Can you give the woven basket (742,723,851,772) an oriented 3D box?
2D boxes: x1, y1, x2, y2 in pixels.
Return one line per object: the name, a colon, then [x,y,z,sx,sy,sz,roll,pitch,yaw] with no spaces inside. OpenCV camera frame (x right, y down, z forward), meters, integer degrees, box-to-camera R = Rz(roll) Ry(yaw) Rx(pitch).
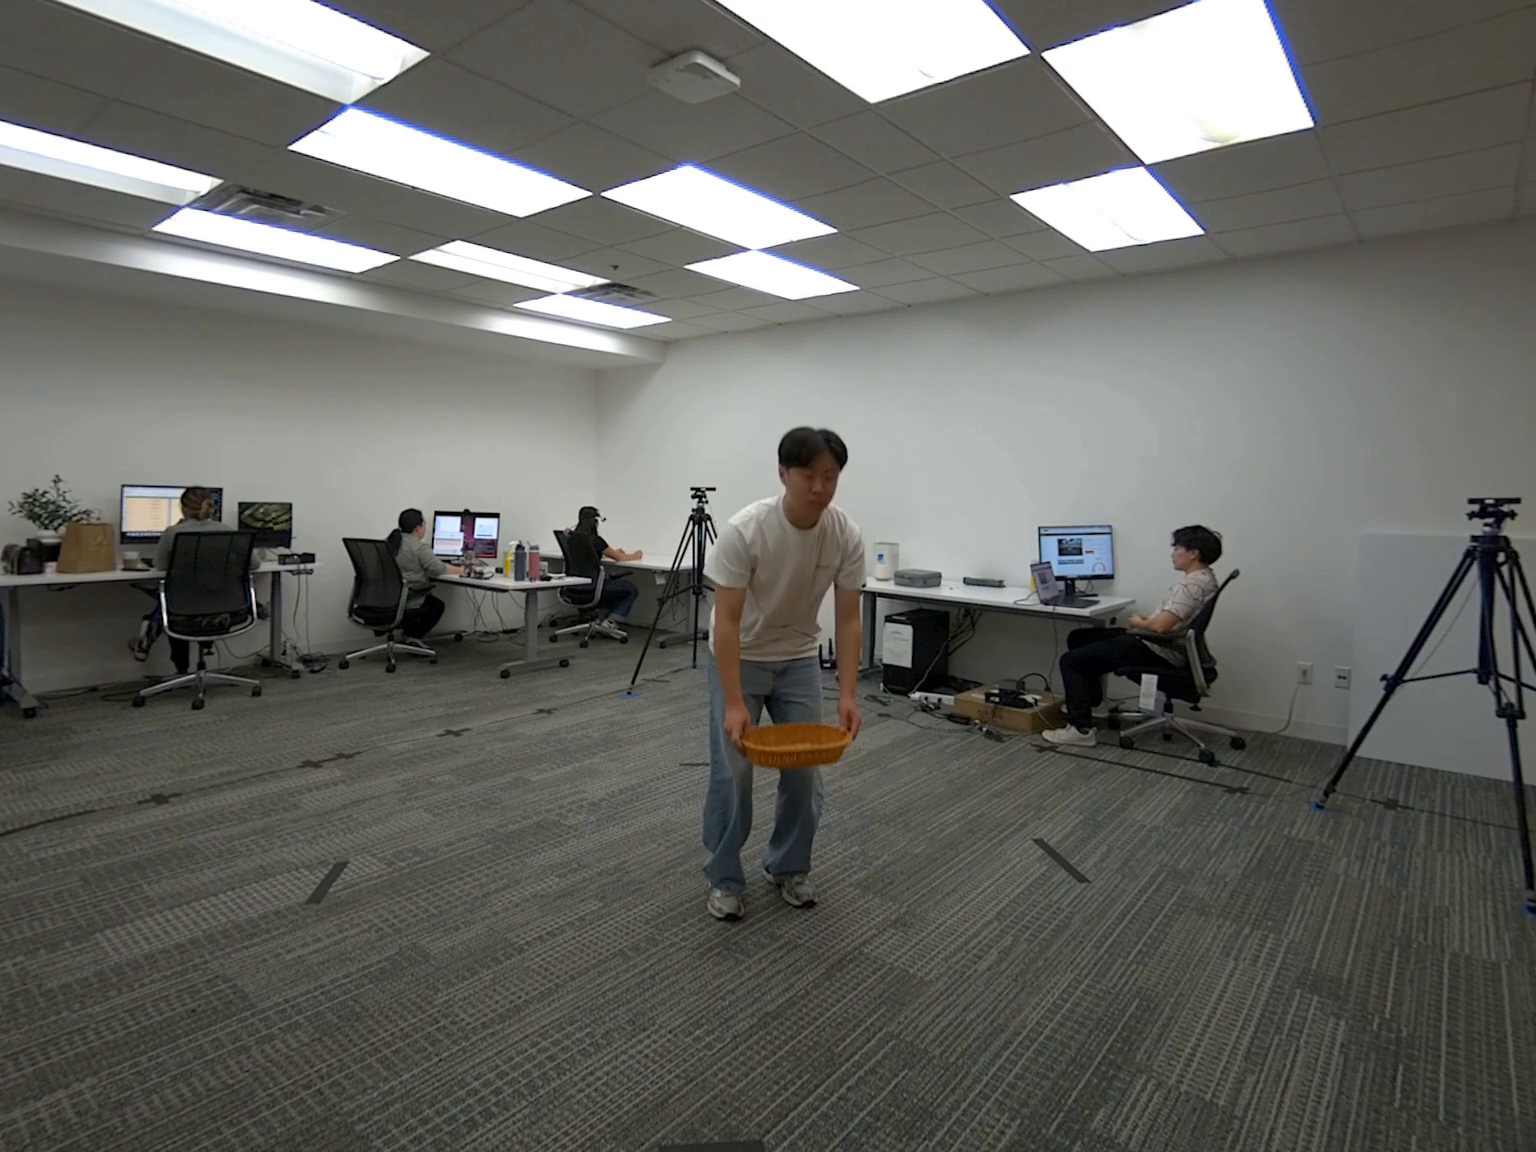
woven basket: [0.078,0.522,2.559,0.345,0.073,0.257,-3,7,-15]
